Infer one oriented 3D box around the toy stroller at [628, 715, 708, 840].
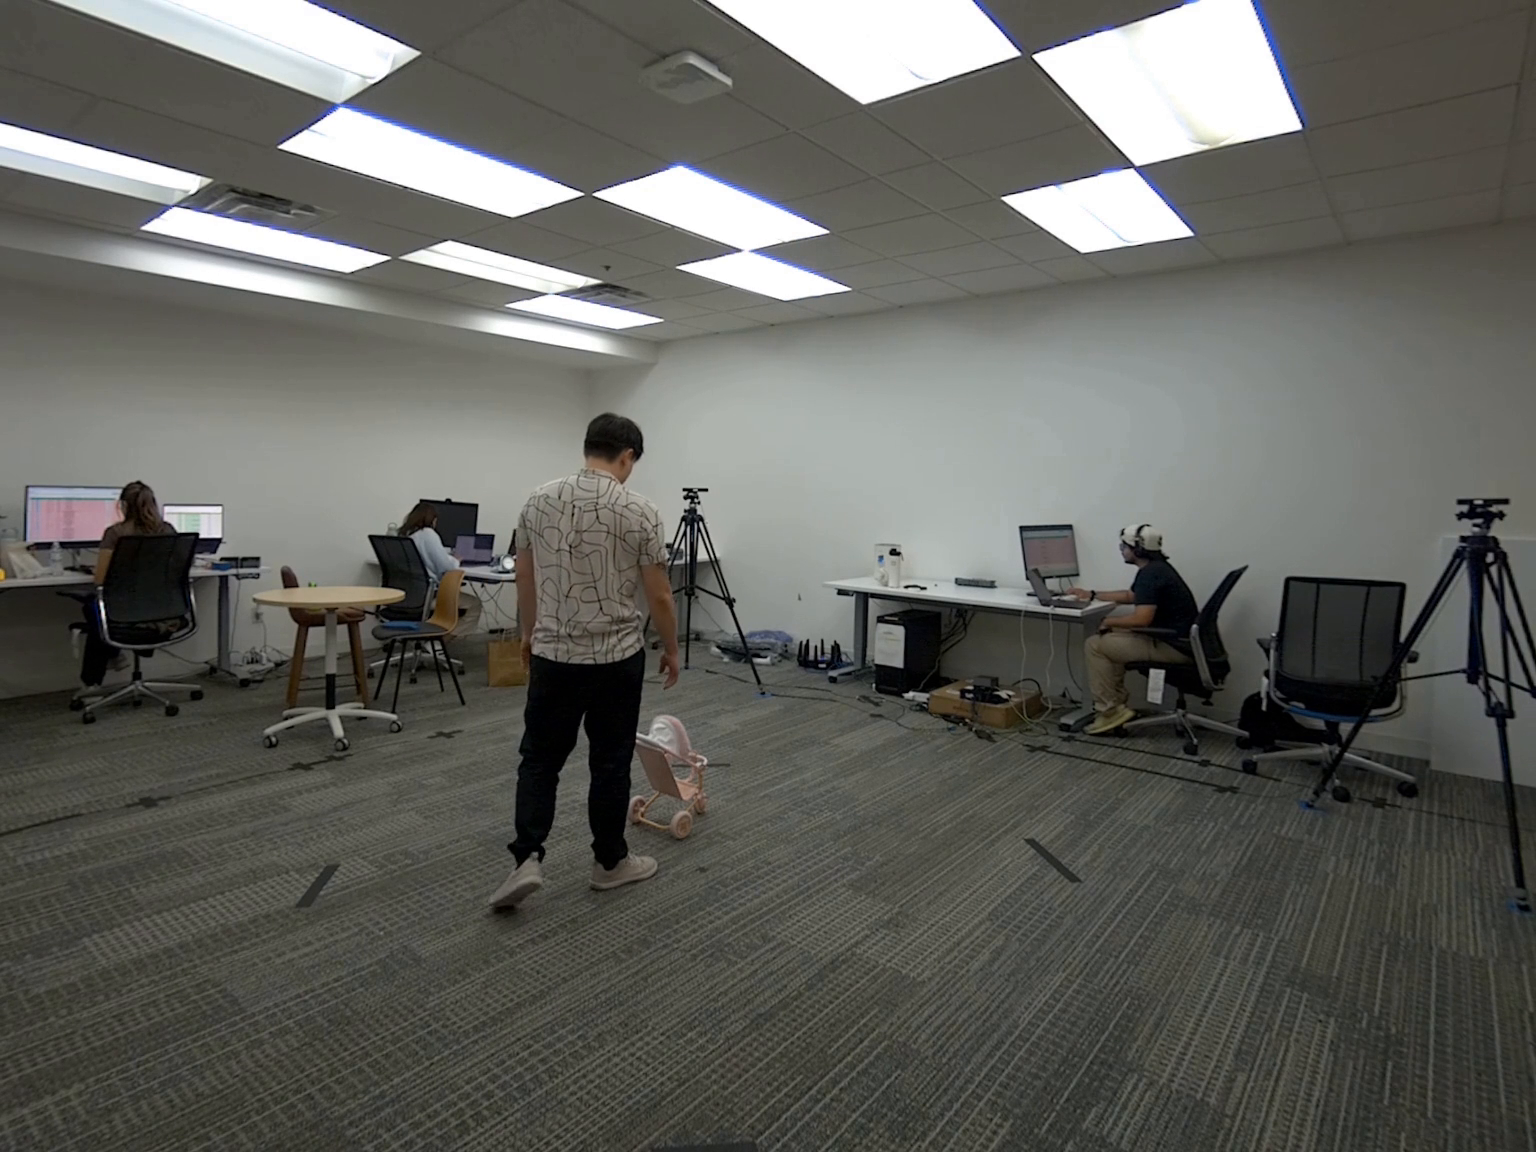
[{"bbox_3d":[-0.413,0.802,3.496,0.291,0.526,0.335,4,20,43],"label":"toy stroller"}]
